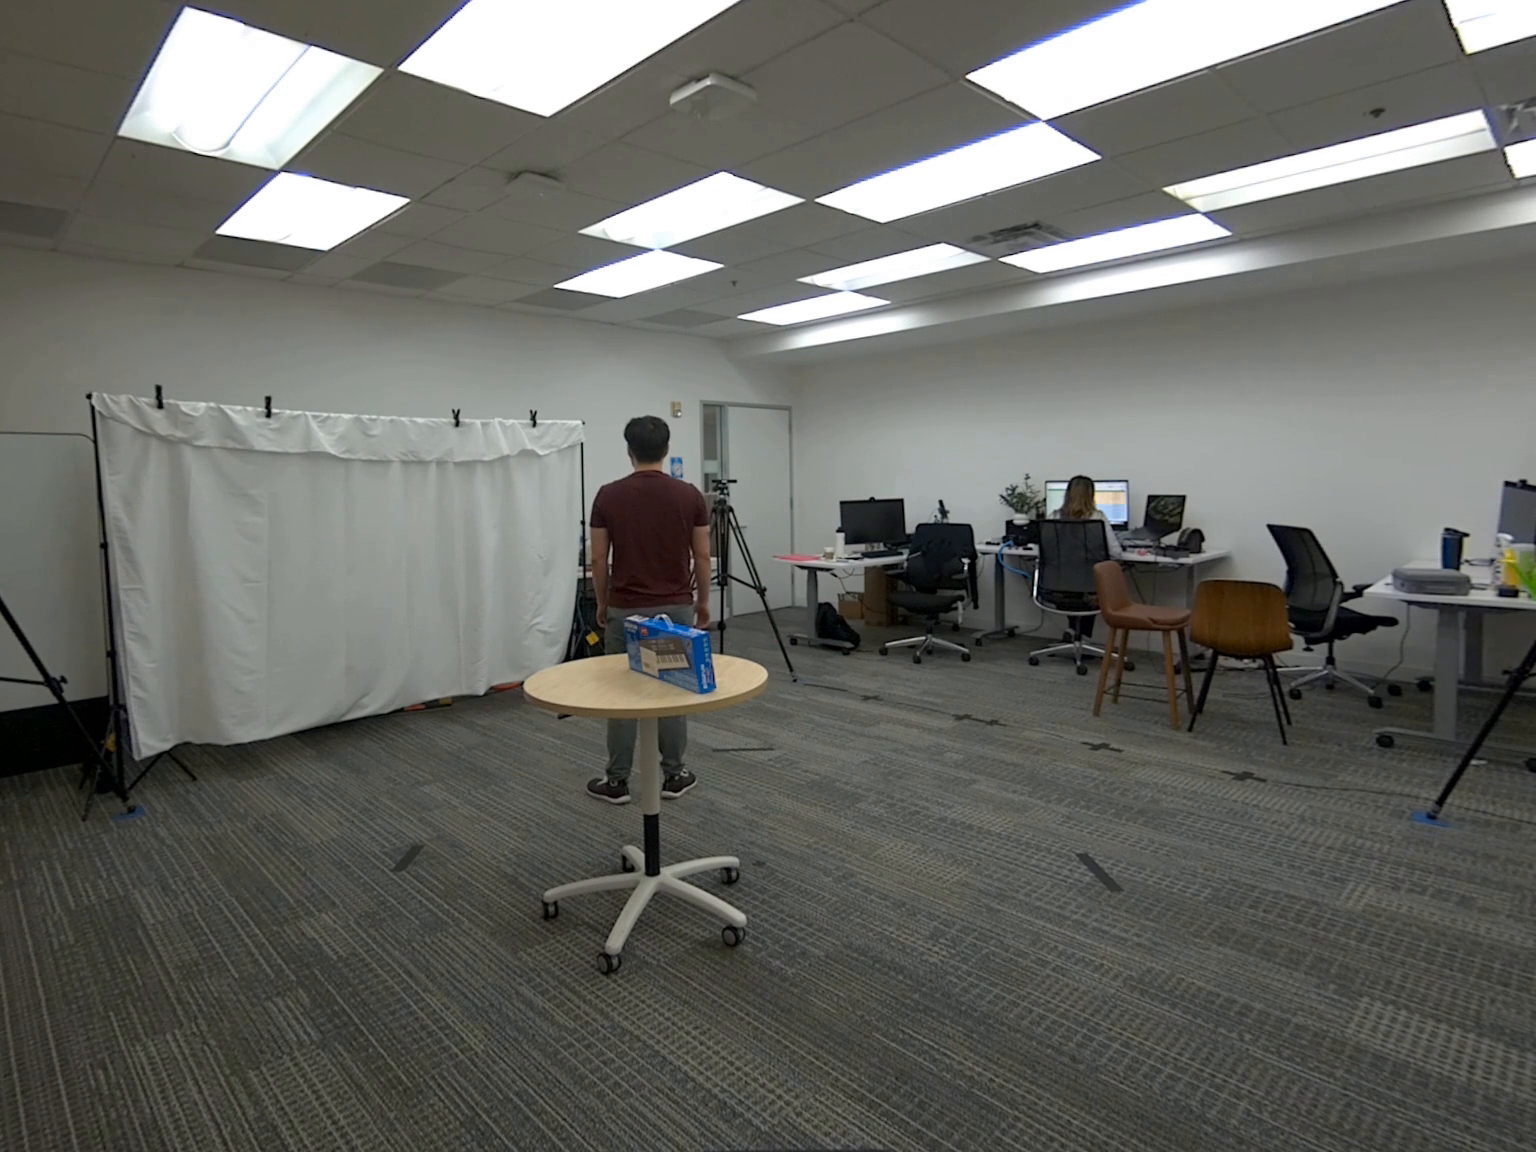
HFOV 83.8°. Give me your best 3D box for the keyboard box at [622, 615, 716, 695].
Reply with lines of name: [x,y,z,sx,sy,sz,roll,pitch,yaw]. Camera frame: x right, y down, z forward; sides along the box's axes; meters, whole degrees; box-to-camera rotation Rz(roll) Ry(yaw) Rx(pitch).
keyboard box: [-0.316,0.239,2.640,0.058,0.174,0.450,-12,11,-34]
